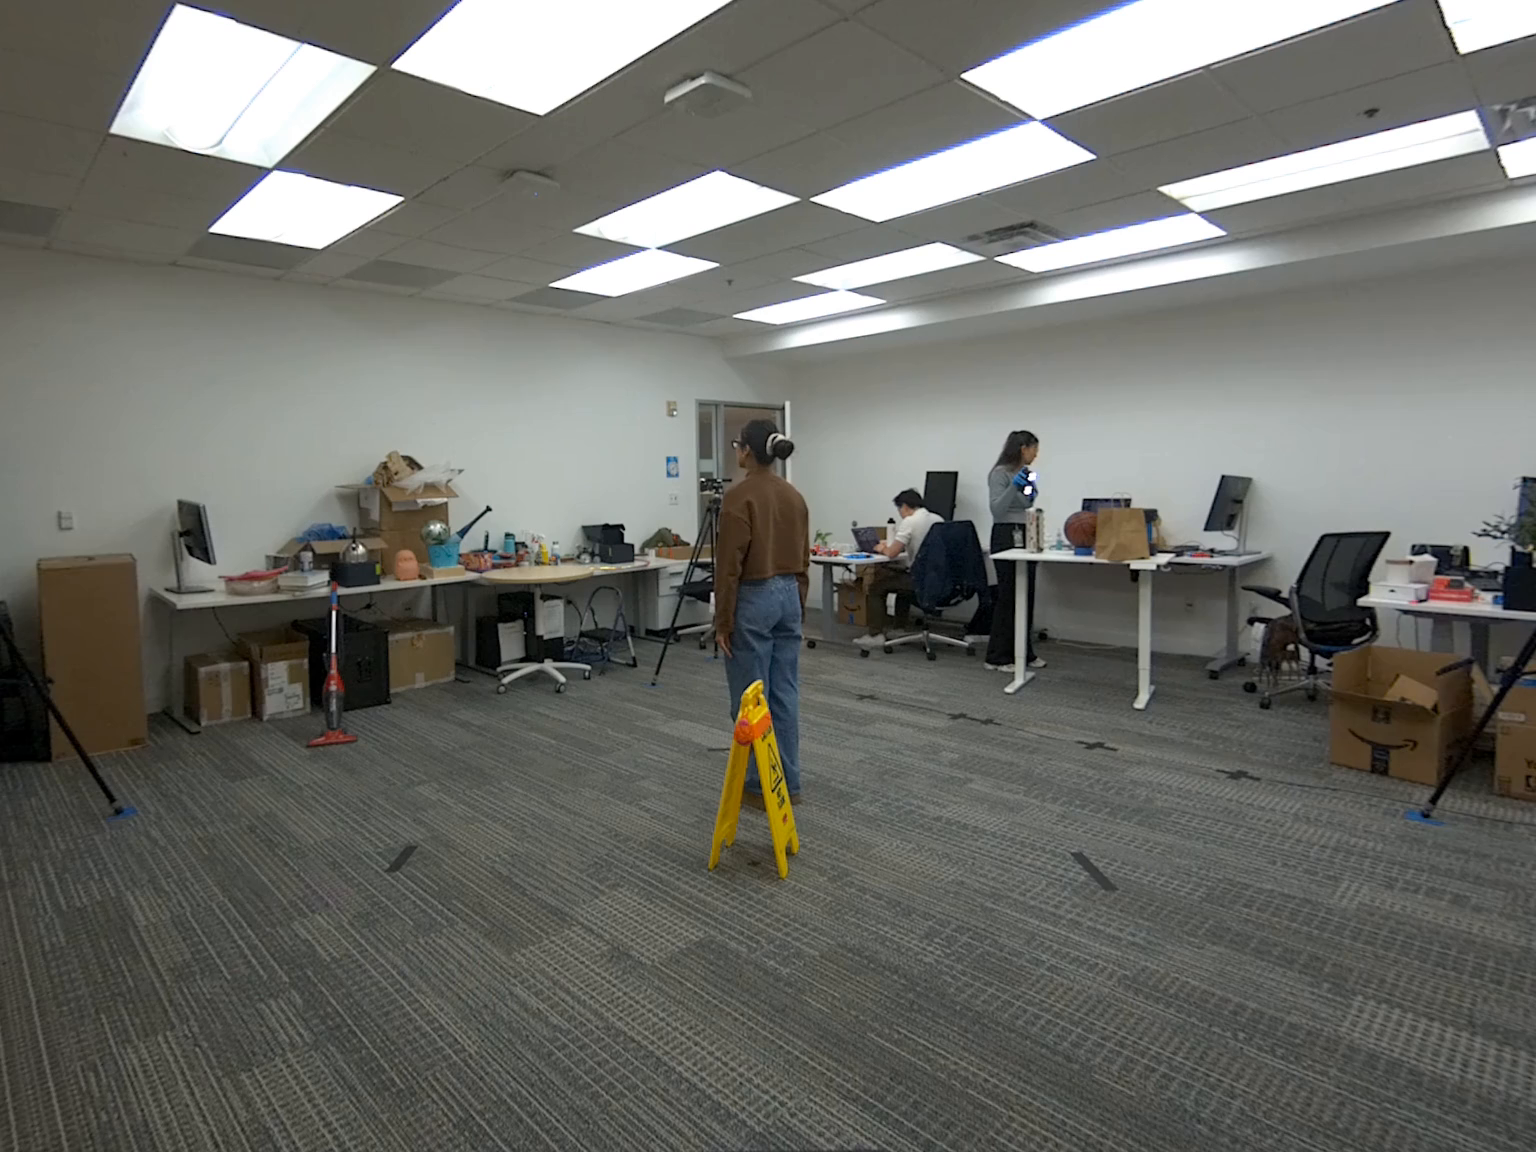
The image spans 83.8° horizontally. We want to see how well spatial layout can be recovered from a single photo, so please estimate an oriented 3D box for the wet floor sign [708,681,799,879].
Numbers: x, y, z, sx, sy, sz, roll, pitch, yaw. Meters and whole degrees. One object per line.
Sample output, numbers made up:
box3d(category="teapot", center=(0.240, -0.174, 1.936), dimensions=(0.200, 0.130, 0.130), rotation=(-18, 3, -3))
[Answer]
box3d(category="wet floor sign", center=(-0.058, 0.721, 3.128), dimensions=(0.294, 0.644, 0.279), rotation=(0, 4, 16))
